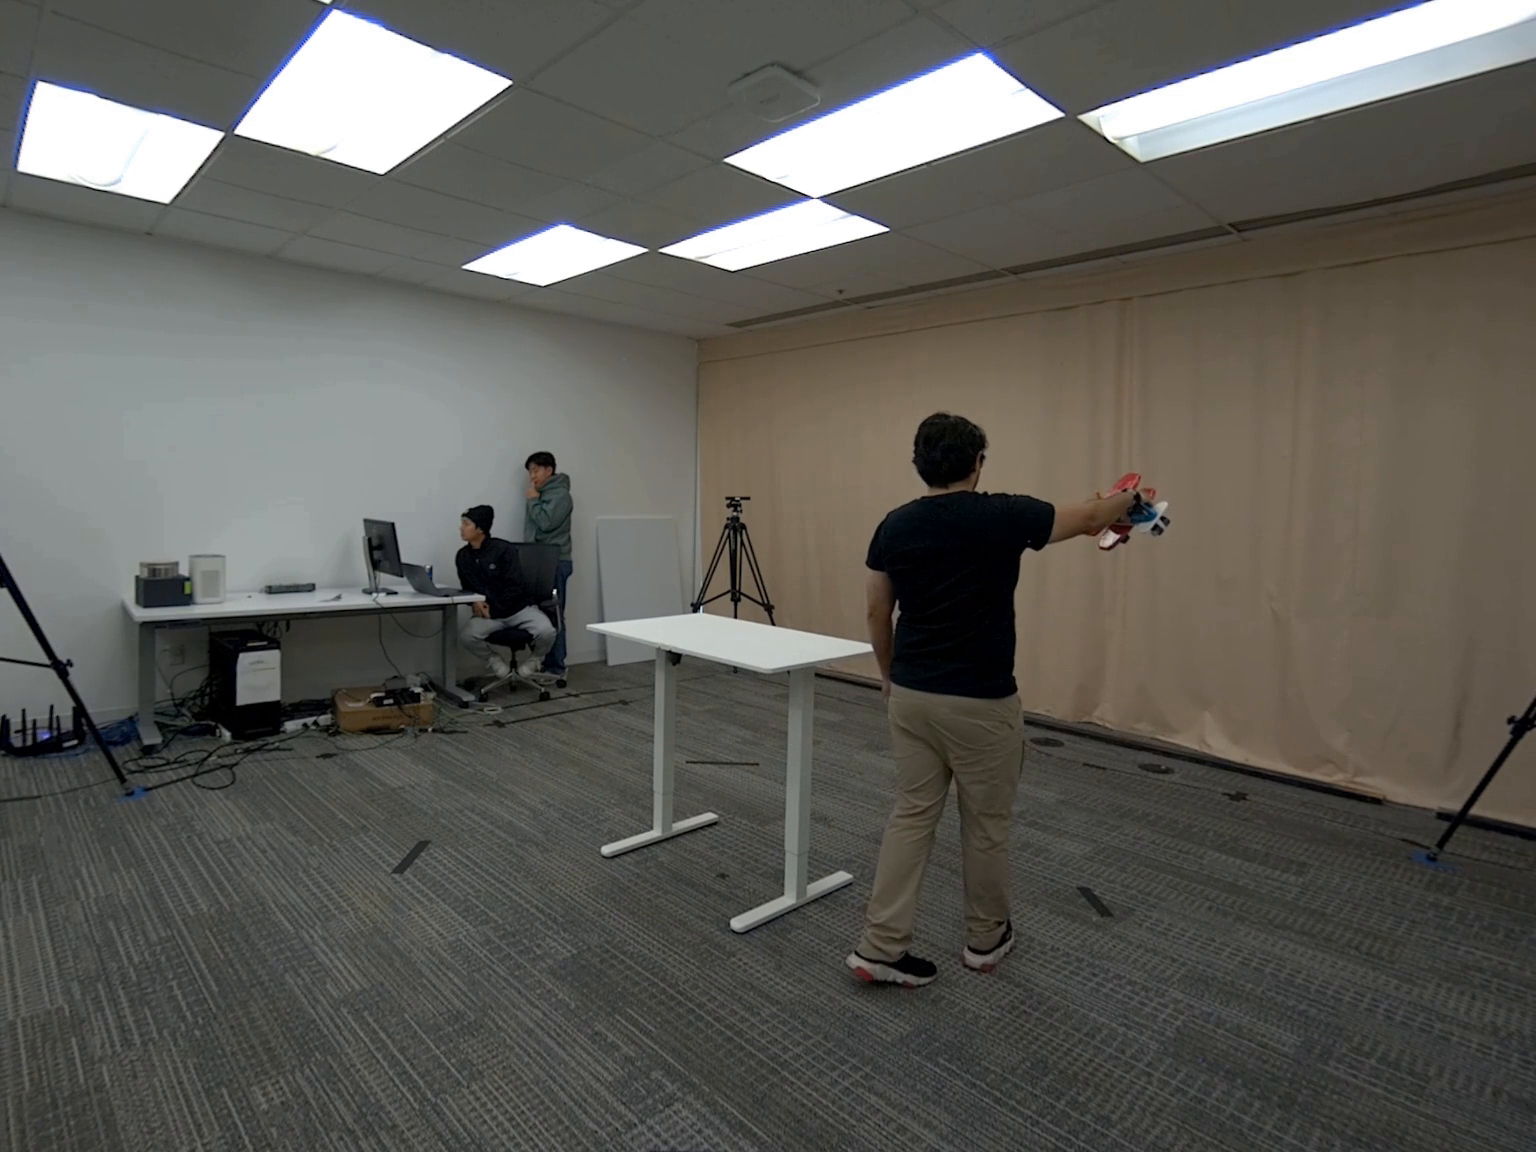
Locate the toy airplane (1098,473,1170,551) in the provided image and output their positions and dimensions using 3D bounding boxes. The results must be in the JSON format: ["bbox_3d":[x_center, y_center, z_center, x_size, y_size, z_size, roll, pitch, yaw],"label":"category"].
[{"bbox_3d":[1.168,-0.206,2.697,0.156,0.252,0.259,38,-31,-5],"label":"toy airplane"}]
